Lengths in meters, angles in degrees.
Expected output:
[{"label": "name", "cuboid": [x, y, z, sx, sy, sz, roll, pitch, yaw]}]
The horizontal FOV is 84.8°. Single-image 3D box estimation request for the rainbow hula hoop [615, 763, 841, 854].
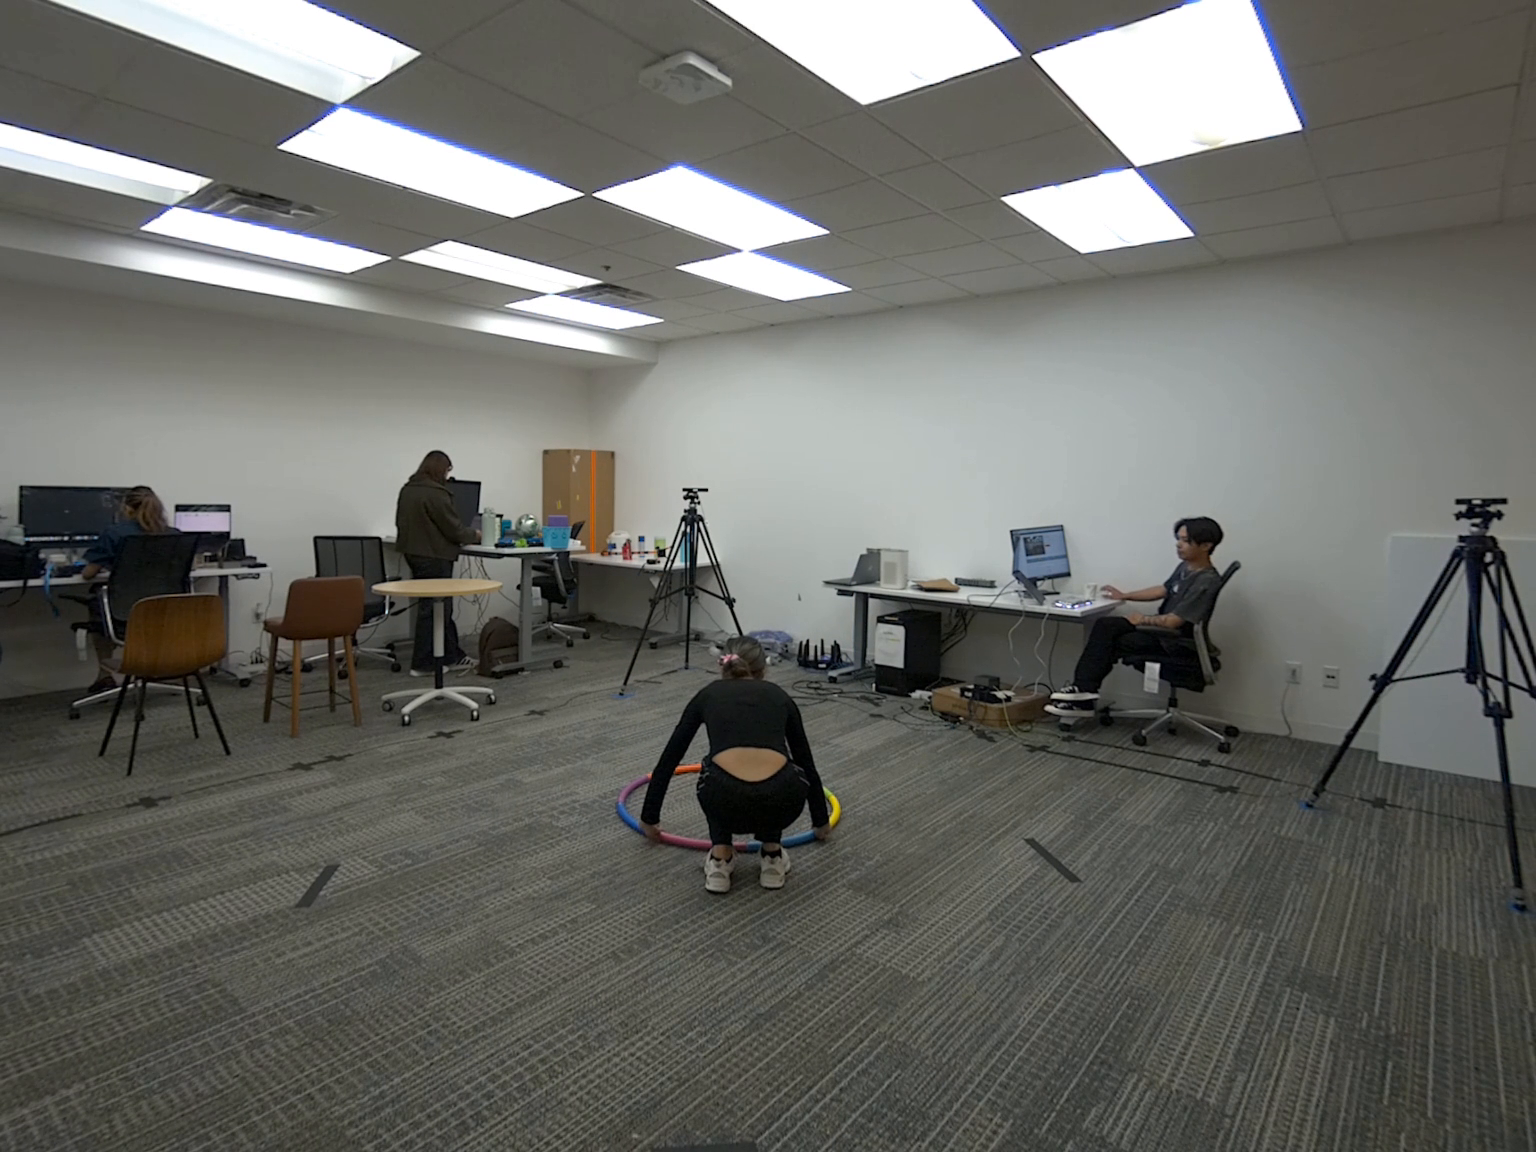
[{"label": "rainbow hula hoop", "cuboid": [-0.186, 0.979, 3.737, 0.978, 0.035, 0.984, 1, 6, -2]}]
